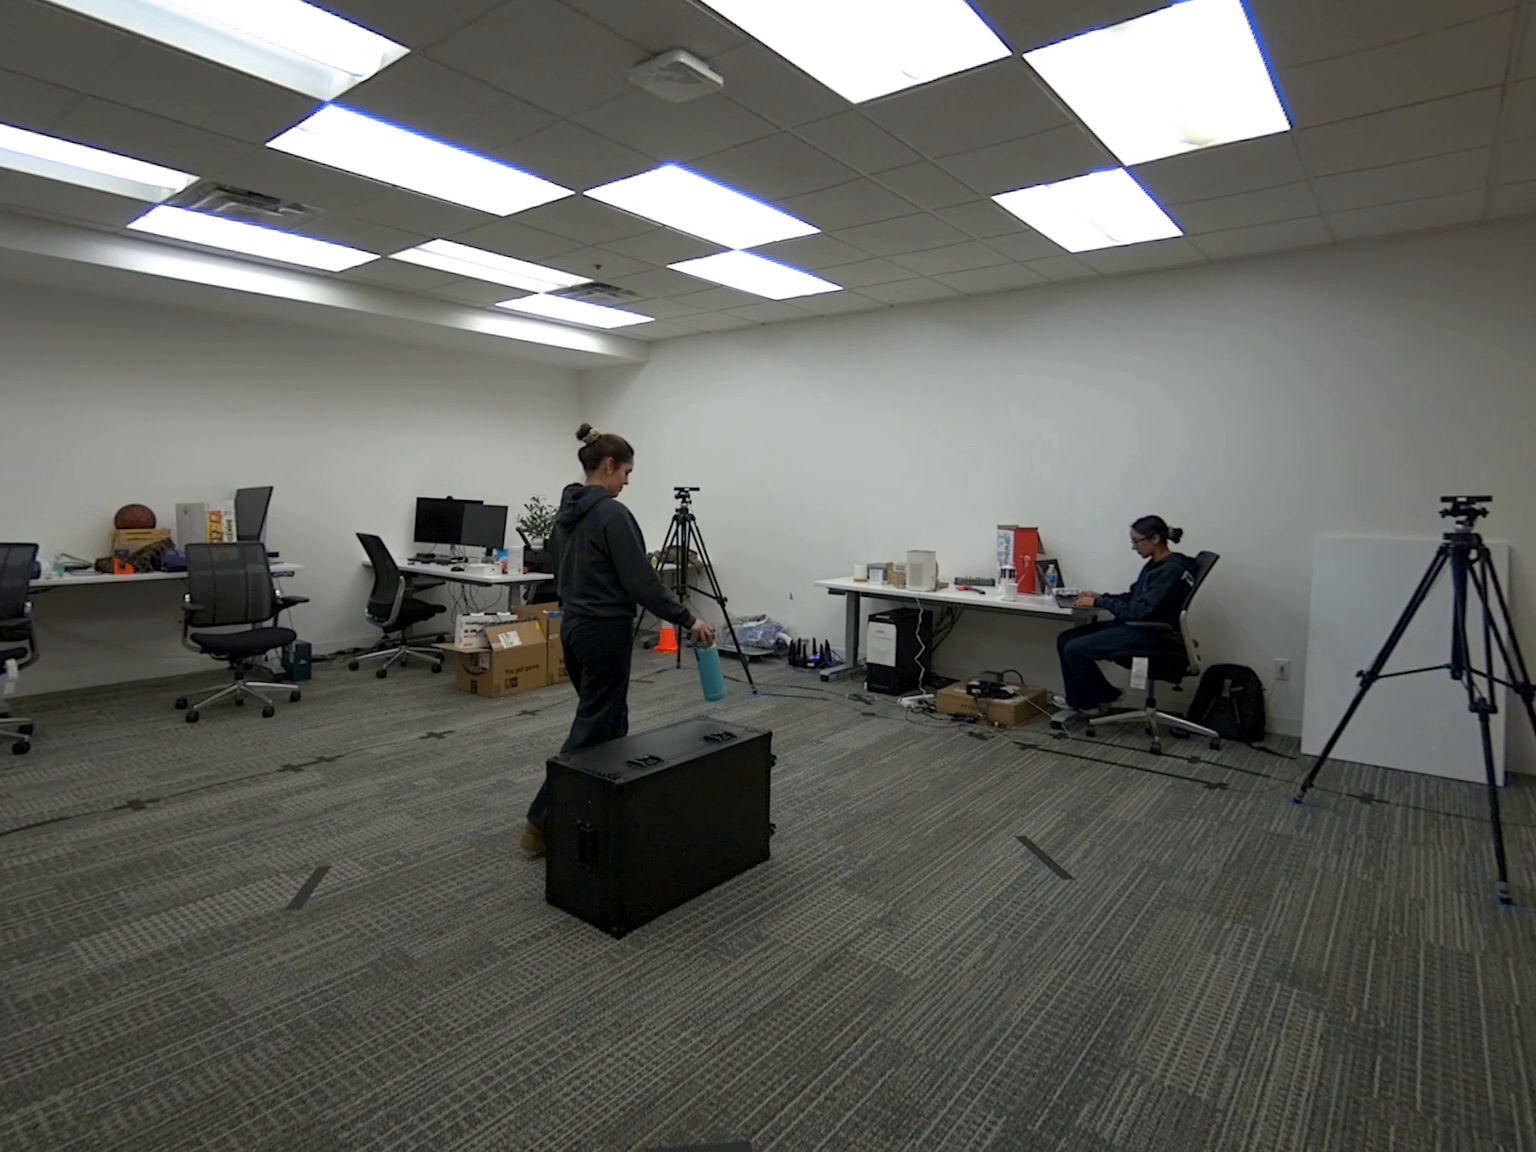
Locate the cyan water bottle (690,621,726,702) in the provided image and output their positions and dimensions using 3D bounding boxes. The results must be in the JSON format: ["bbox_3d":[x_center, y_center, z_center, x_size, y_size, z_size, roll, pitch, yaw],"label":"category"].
[{"bbox_3d":[-0.247,0.344,3.309,0.092,0.279,0.093,-12,13,1],"label":"cyan water bottle"}]
